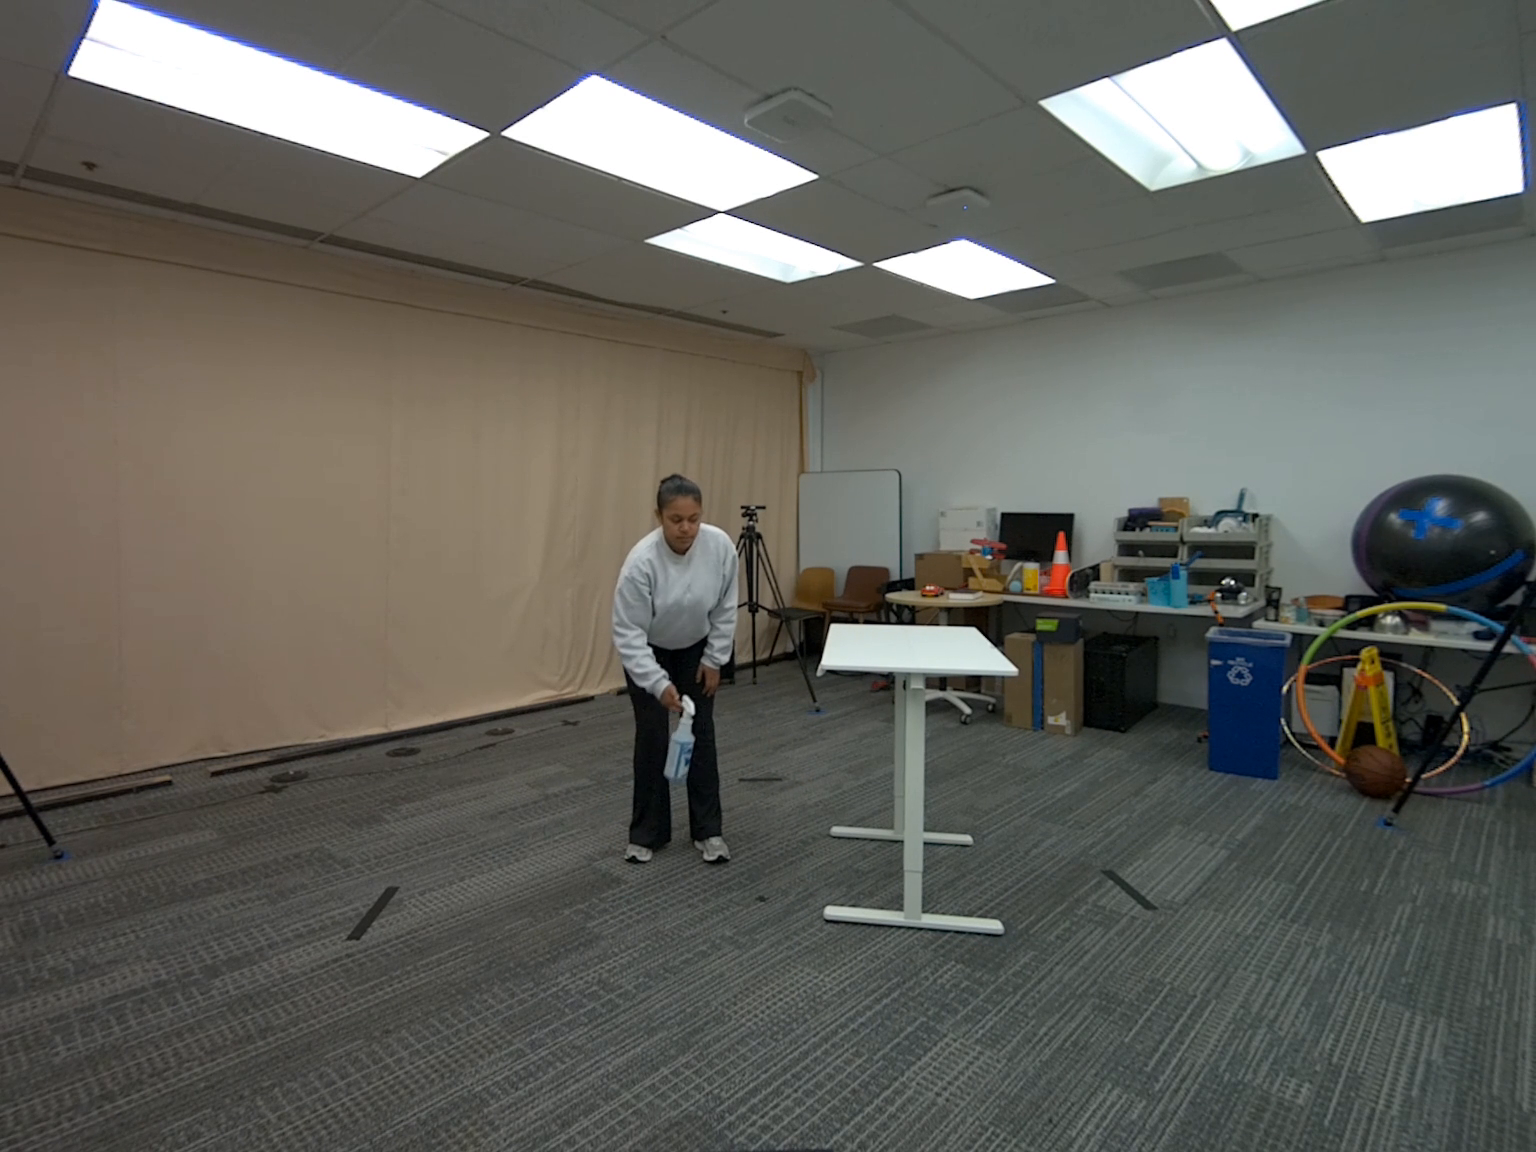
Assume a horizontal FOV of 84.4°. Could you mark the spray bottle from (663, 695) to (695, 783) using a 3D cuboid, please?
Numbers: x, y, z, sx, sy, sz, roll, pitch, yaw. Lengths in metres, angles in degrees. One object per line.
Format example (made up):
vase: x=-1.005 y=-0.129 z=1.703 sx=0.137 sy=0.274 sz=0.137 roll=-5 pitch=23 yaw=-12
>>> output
spray bottle: x=-0.305 y=0.584 z=3.054 sx=0.086 sy=0.296 sz=0.091 roll=9 pitch=9 yaw=-6
